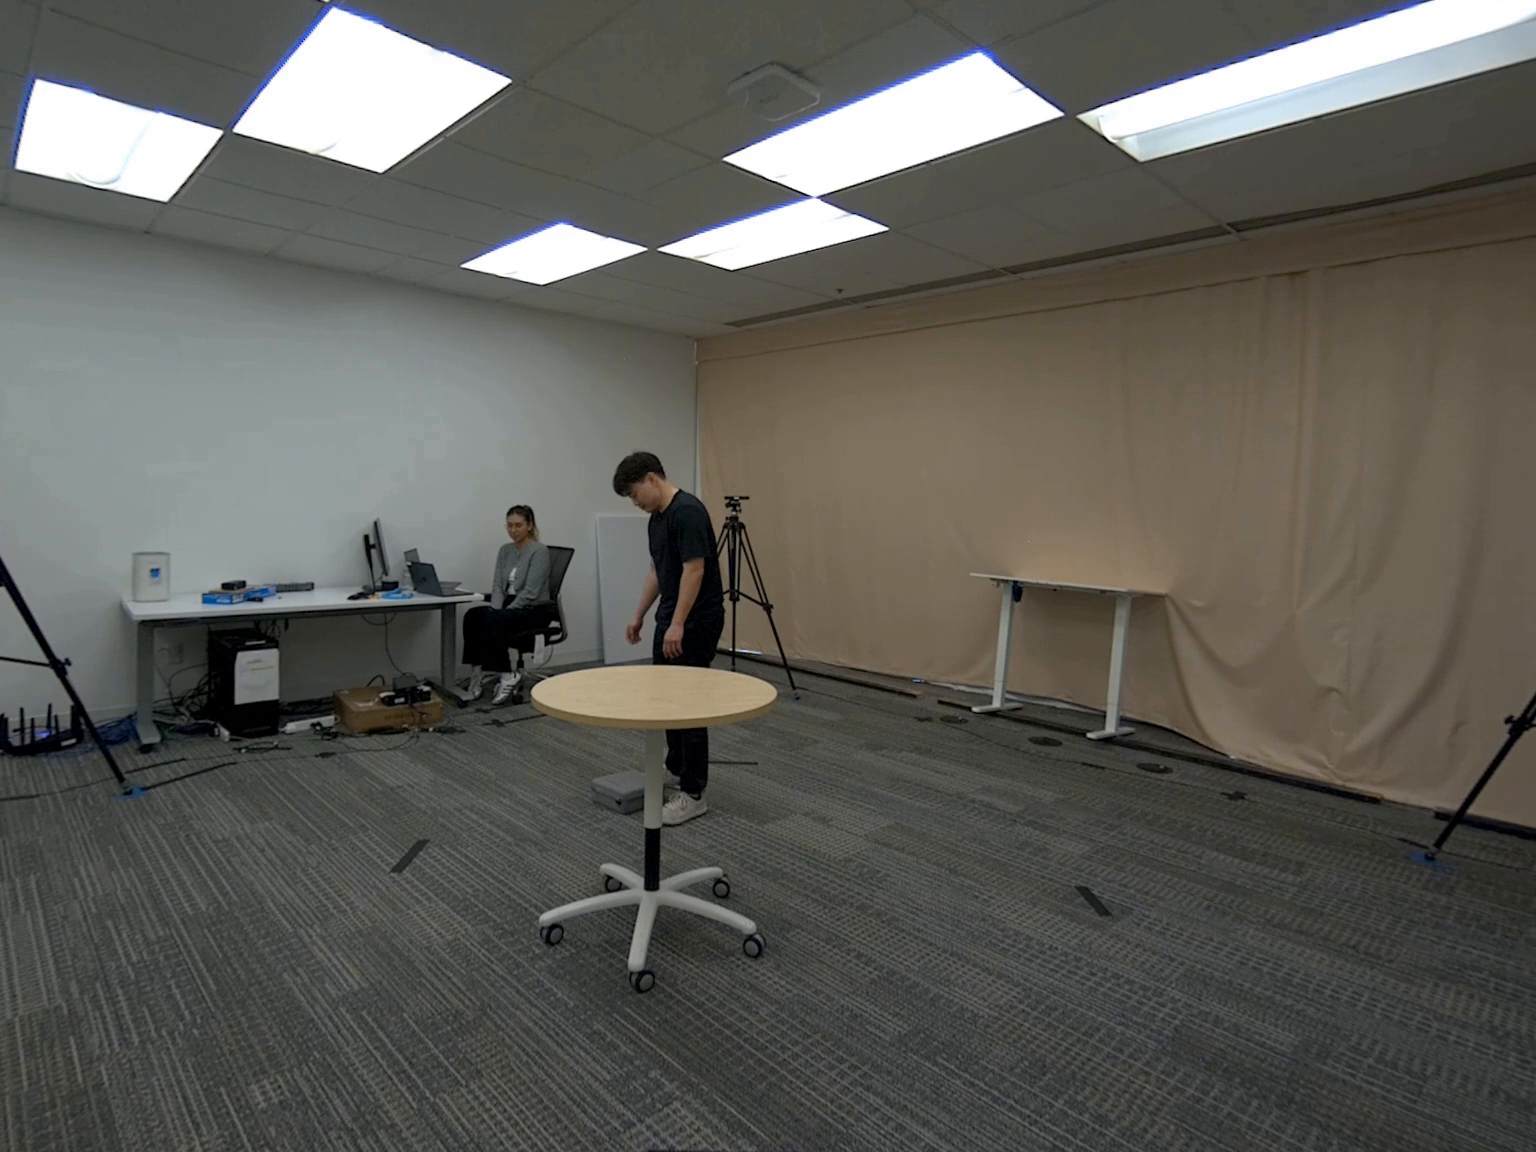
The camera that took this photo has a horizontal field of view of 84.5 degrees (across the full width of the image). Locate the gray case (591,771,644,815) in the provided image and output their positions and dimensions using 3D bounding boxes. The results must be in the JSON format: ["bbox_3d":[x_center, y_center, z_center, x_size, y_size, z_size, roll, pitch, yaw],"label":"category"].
[{"bbox_3d":[-0.642,0.971,3.826,0.263,0.104,0.255,5,5,42],"label":"gray case"}]
